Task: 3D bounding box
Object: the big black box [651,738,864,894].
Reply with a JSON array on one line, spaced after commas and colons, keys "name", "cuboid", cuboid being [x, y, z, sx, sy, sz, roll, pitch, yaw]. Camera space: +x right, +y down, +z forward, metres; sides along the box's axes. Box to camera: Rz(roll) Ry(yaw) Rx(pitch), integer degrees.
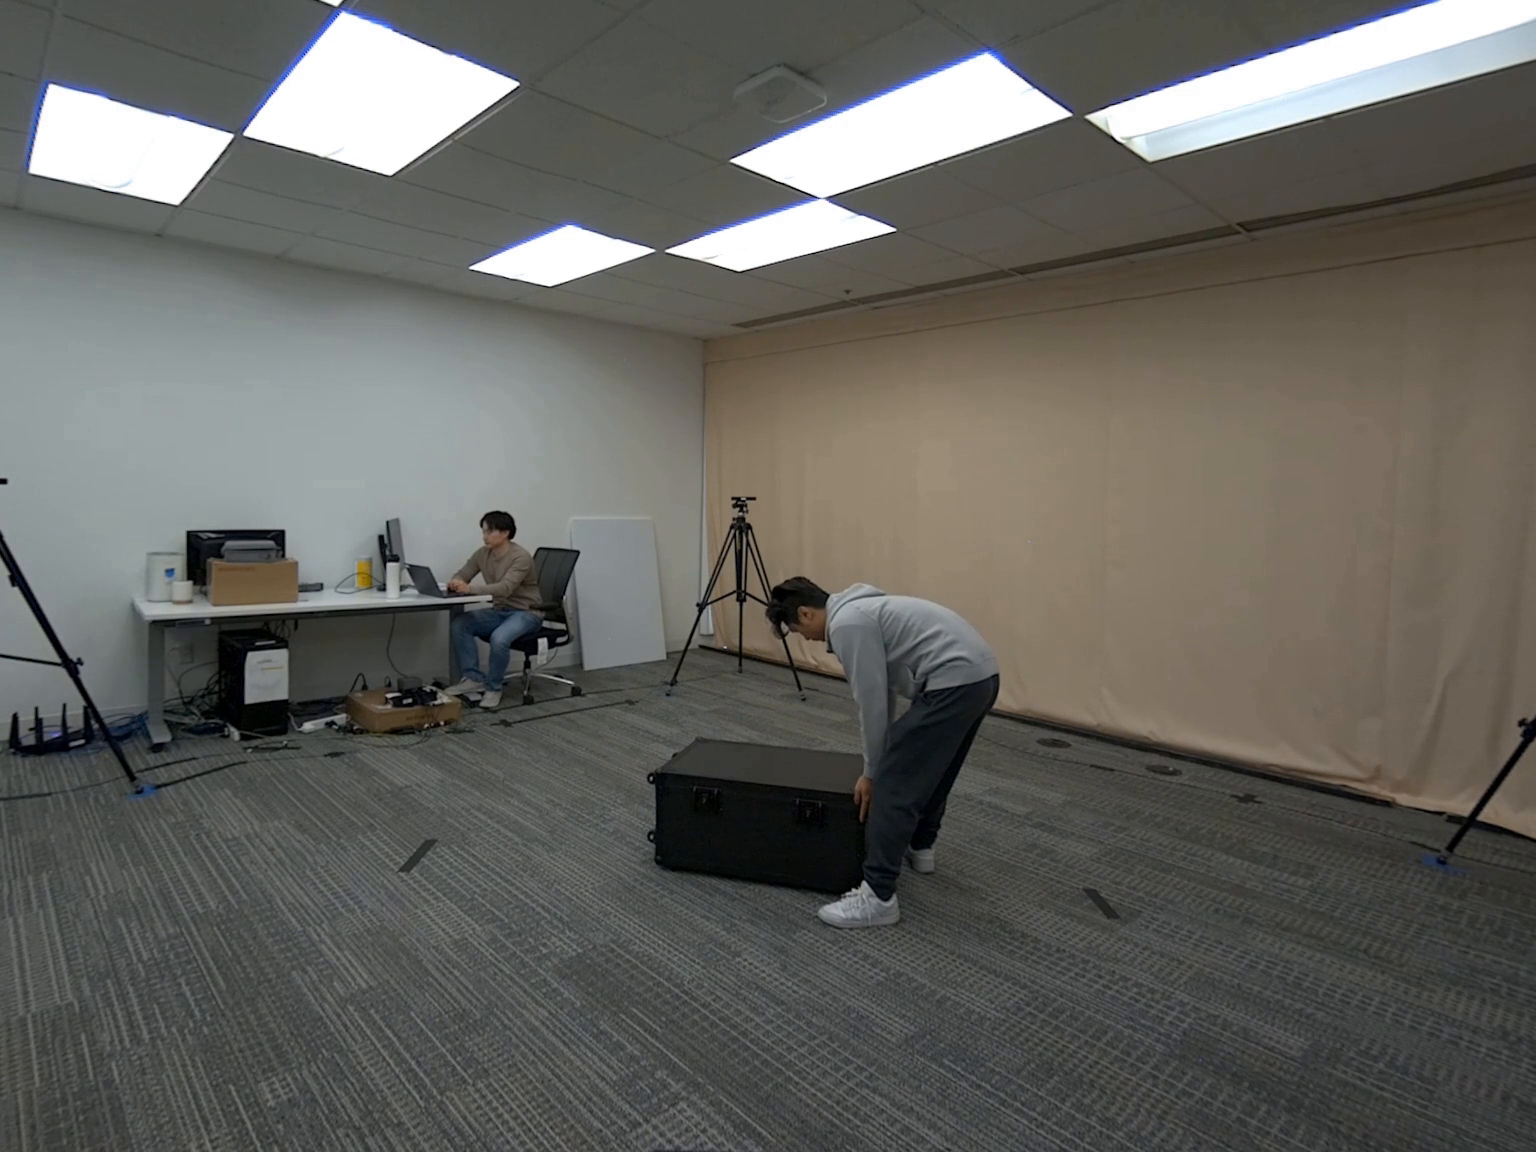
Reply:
[{"name": "big black box", "cuboid": [-0.020, 0.900, 3.262, 0.873, 0.395, 0.515, 3, 4, 16]}]
